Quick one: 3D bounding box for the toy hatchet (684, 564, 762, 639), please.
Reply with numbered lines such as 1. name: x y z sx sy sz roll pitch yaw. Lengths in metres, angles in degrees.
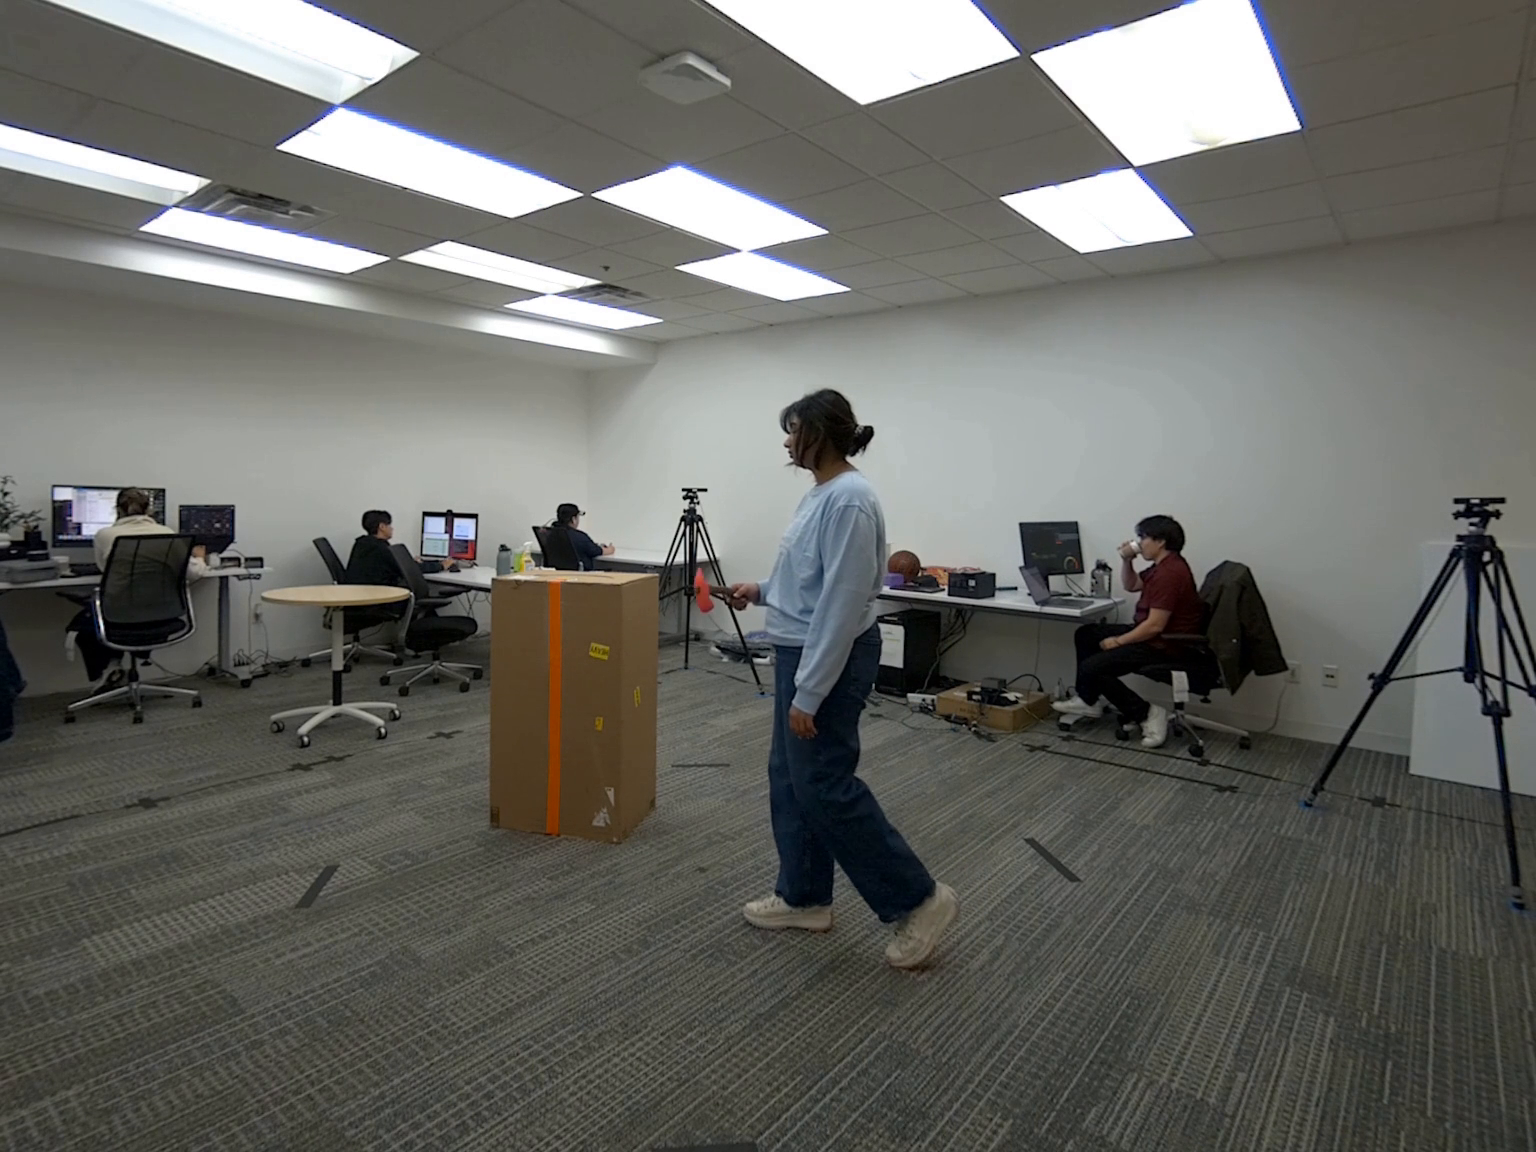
1. toy hatchet: -0.136 0.081 2.624 0.260 0.133 0.030 31 -31 -33
